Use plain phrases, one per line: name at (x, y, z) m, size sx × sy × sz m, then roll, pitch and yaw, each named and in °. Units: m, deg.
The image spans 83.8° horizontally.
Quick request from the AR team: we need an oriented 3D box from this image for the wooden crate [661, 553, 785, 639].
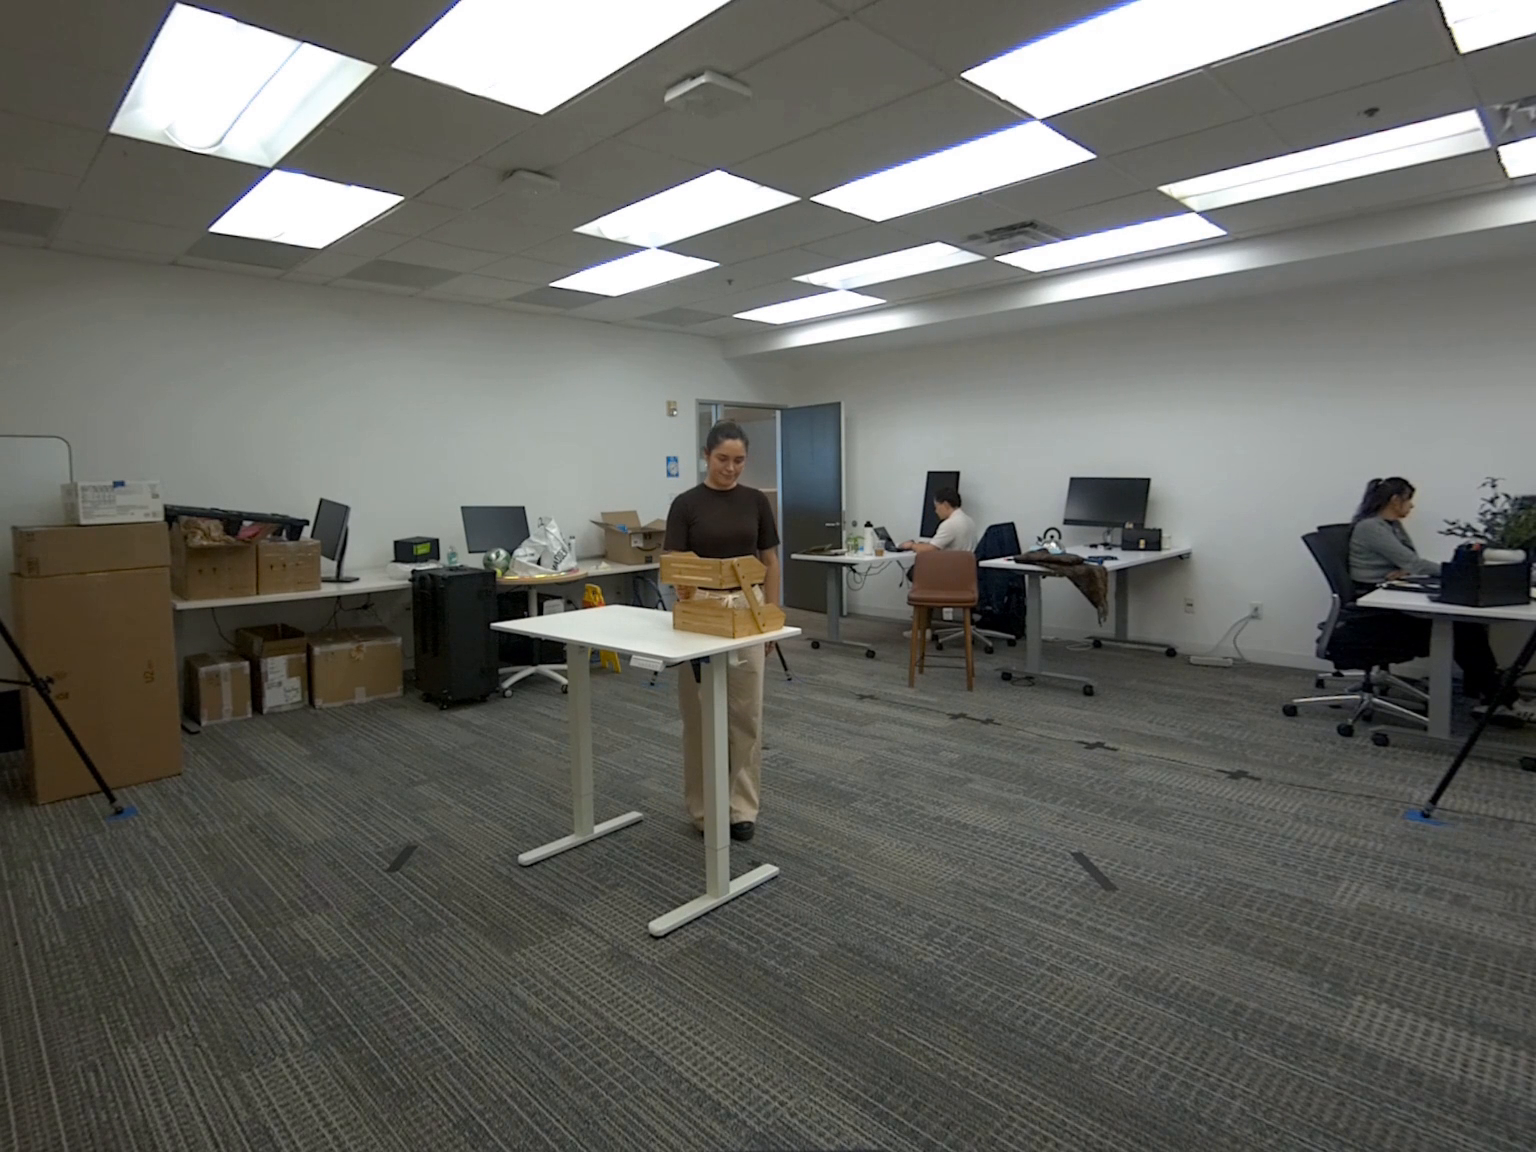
wooden crate at (-0.158, 0.054, 2.909) m, size 0.334 × 0.272 × 0.294 m, roll 4°, pitch 8°, yaw 44°
